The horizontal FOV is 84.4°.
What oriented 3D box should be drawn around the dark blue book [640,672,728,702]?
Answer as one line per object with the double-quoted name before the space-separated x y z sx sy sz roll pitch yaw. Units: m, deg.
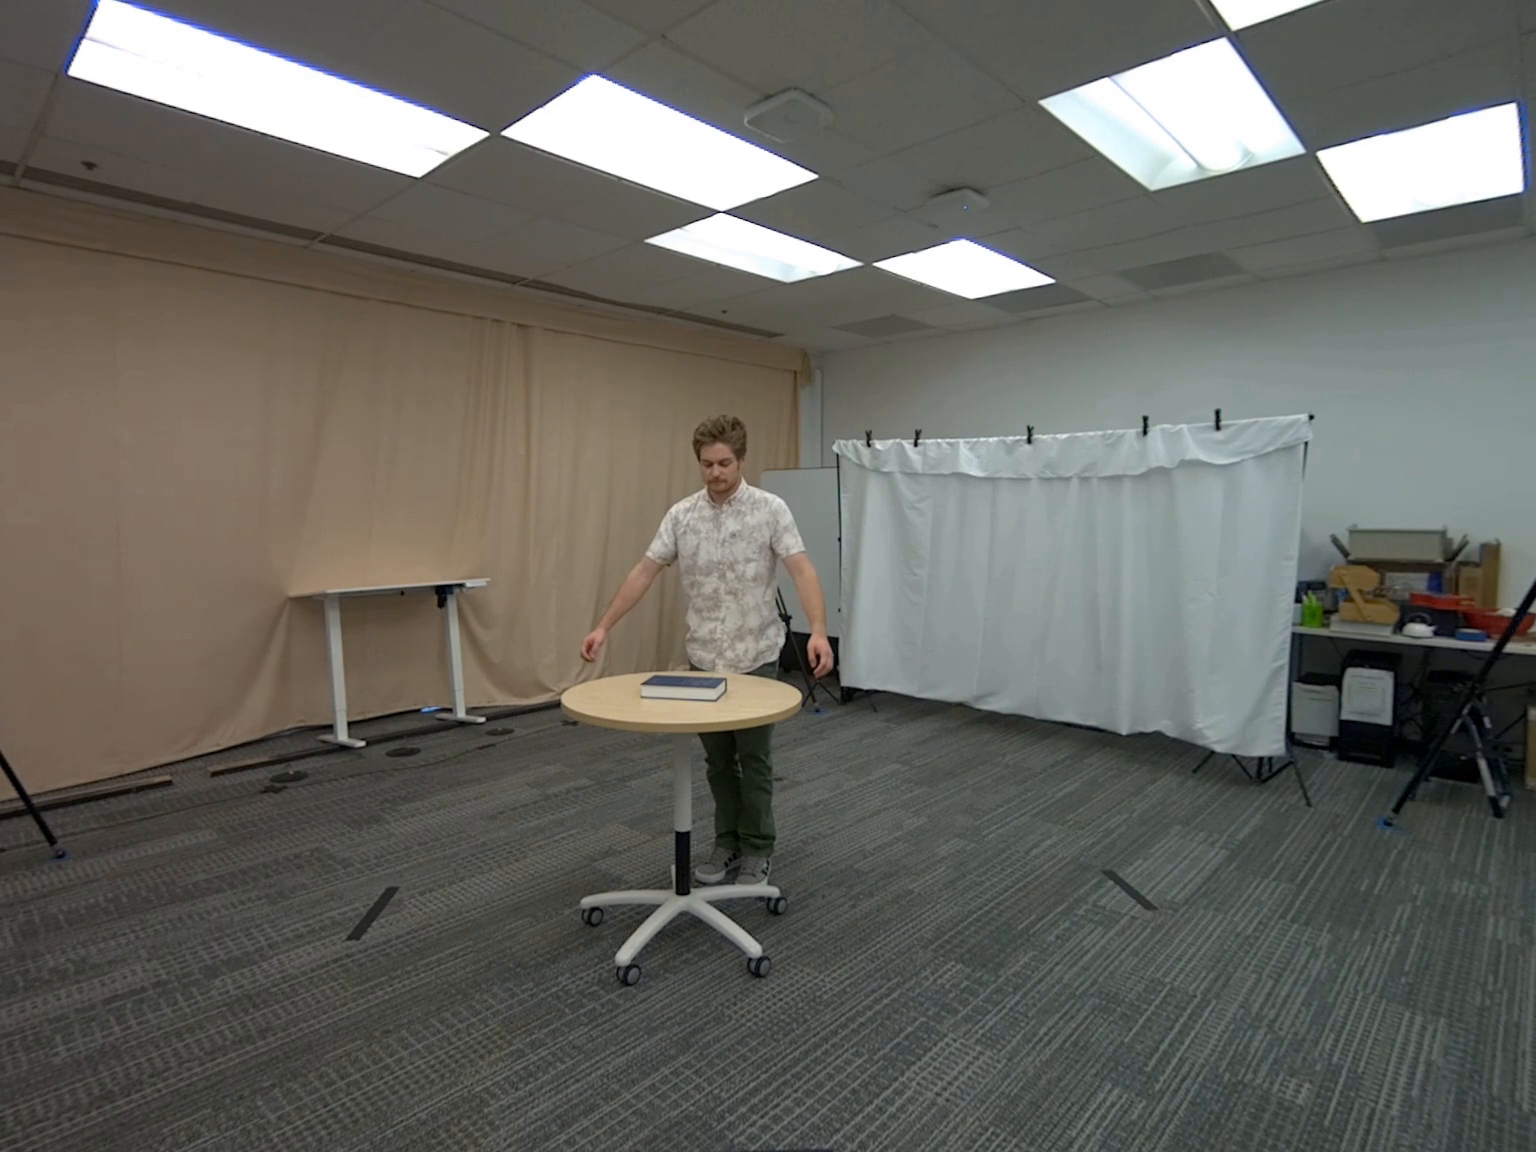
"dark blue book" -0.276 0.355 2.690 0.248 0.045 0.161 1 5 12
